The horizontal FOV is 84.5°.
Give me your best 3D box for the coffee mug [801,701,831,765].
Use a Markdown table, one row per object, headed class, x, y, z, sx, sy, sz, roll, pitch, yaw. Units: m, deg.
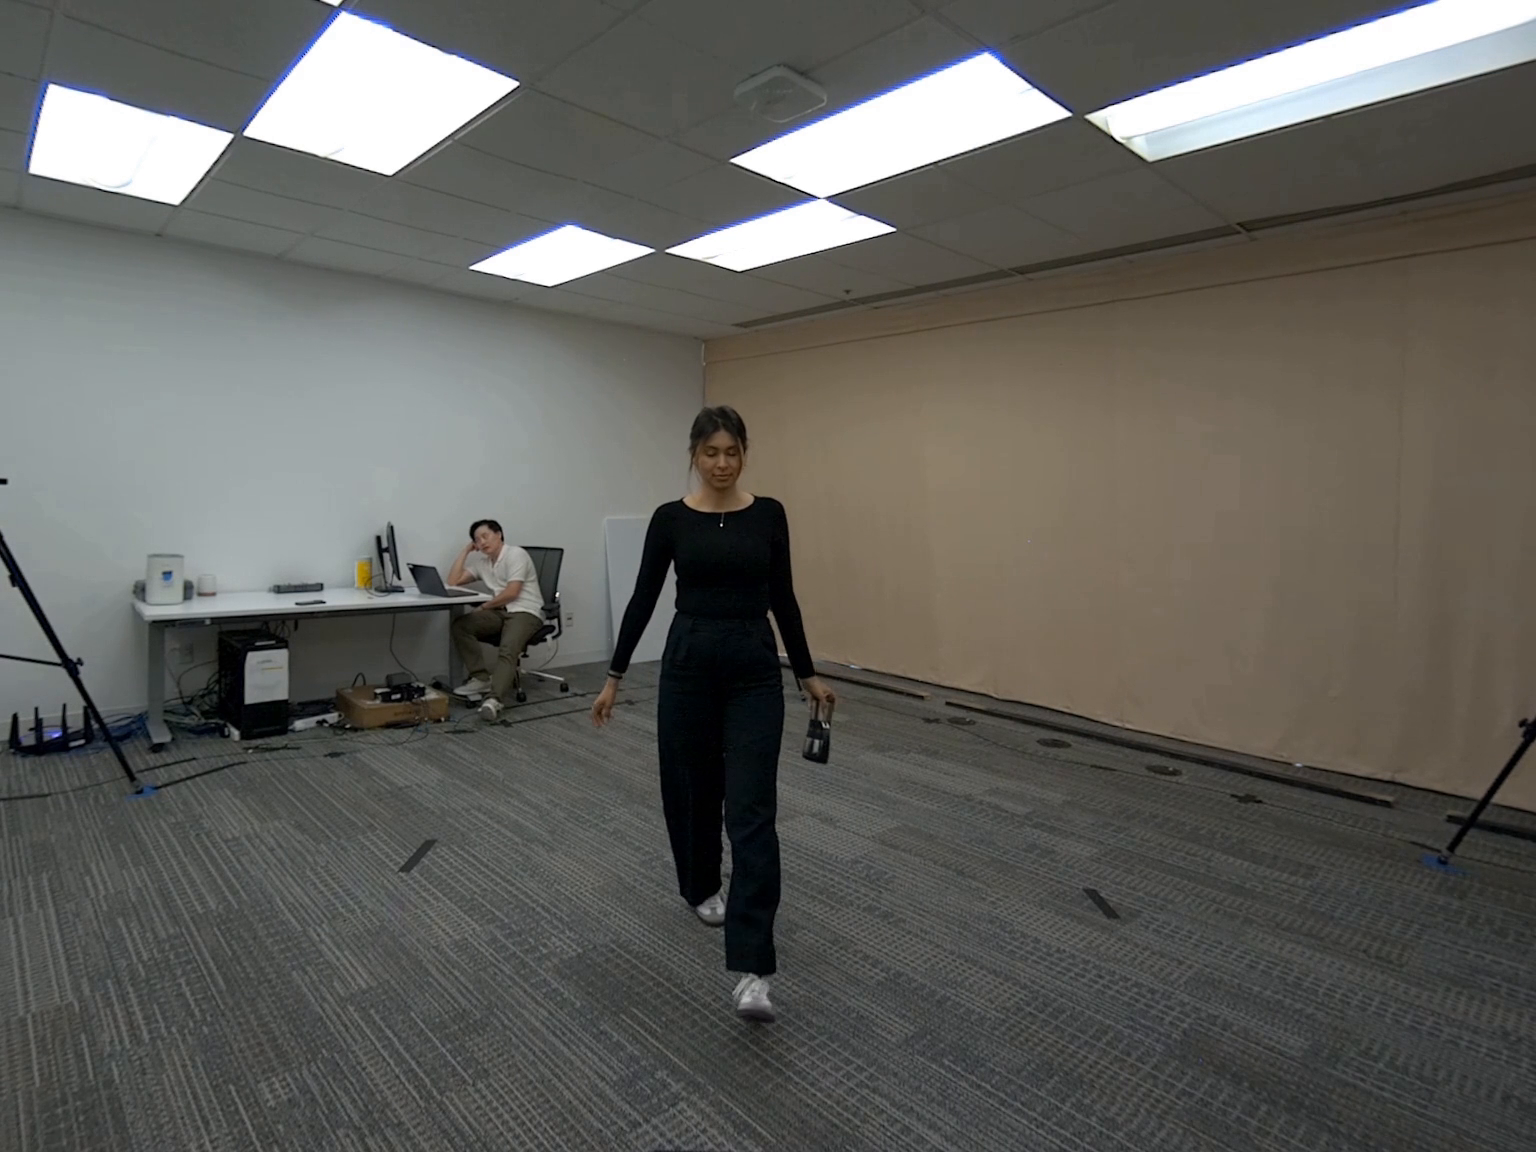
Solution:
| class | x | y | z | sx | sy | sz | roll | pitch | yaw |
| --- | --- | --- | --- | --- | --- | --- | --- | --- | --- |
| coffee mug | 0.165 | 0.493 | 2.694 | 0.085 | 0.203 | 0.125 | 13 | -5 | -34 |
